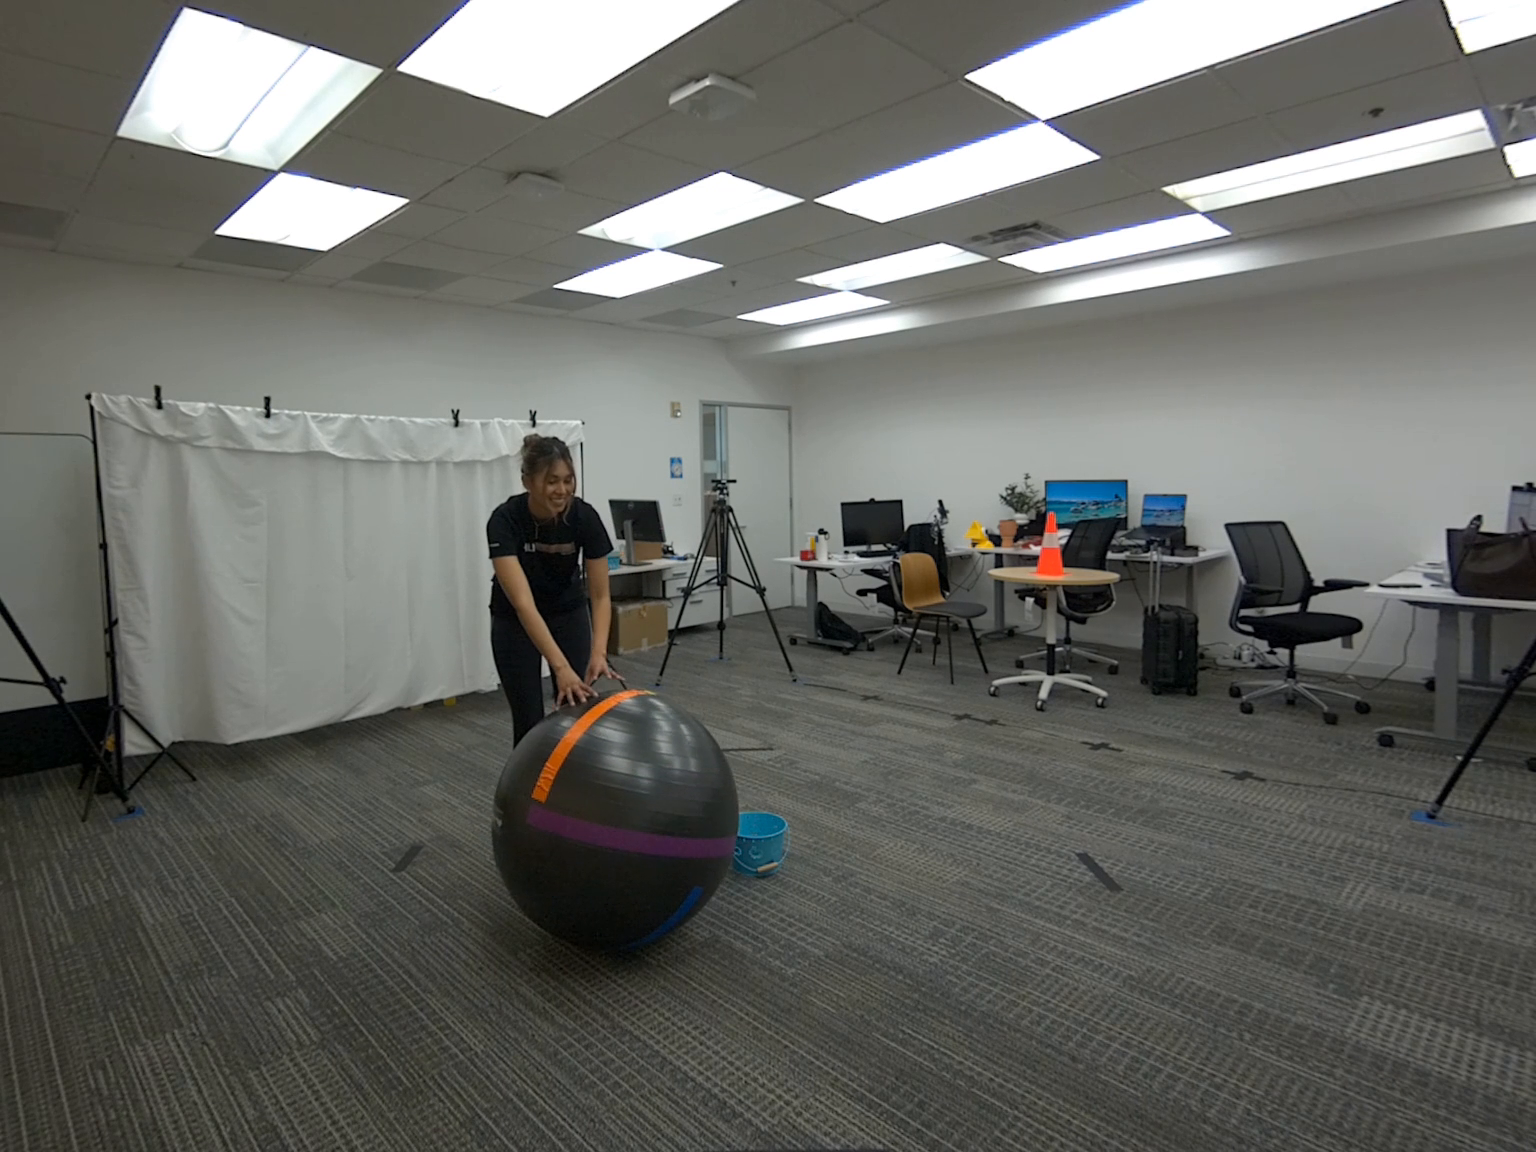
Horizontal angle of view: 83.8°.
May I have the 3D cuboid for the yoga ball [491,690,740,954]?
[{"bbox_3d":[-0.471,0.747,2.644,0.757,0.755,0.762,-1,5,-2],"label":"yoga ball"}]
